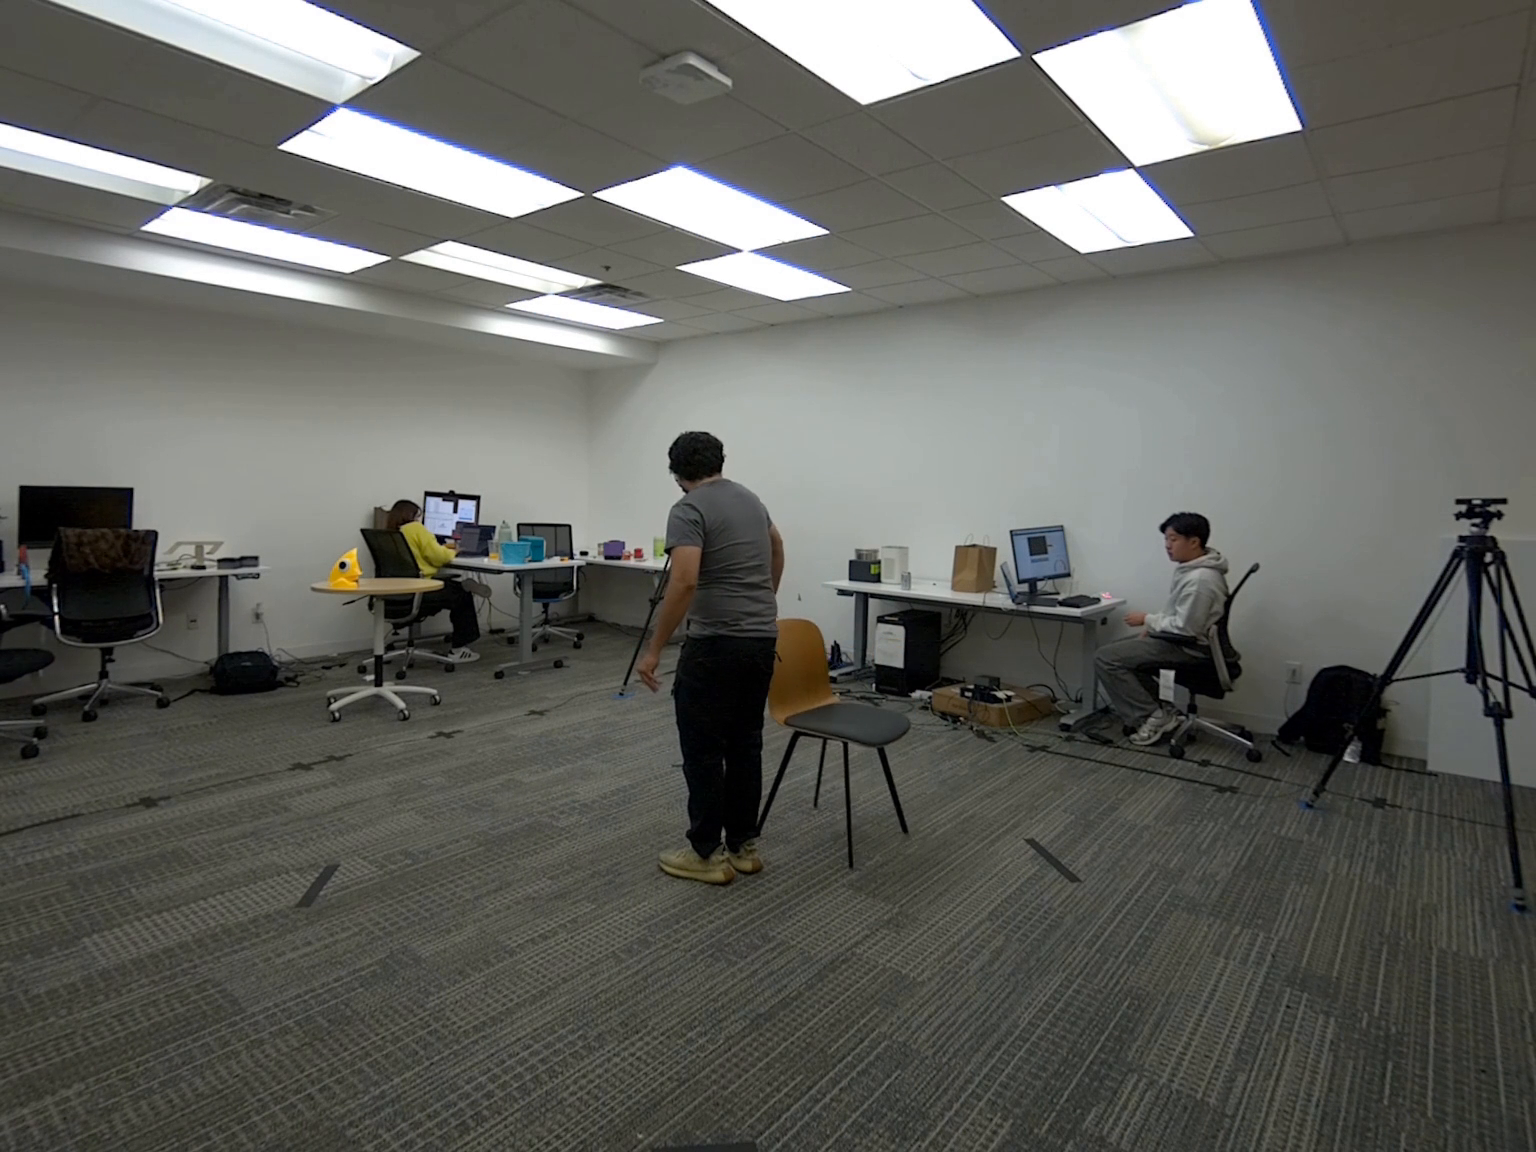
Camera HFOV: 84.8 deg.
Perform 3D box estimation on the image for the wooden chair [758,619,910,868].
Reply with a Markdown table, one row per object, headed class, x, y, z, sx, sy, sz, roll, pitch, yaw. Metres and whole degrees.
| class | x | y | z | sx | sy | sz | roll | pitch | yaw |
| --- | --- | --- | --- | --- | --- | --- | --- | --- | --- |
| wooden chair | 0.266 | 0.622 | 3.418 | 0.539 | 0.877 | 0.464 | -1 | 1 | 38 |
